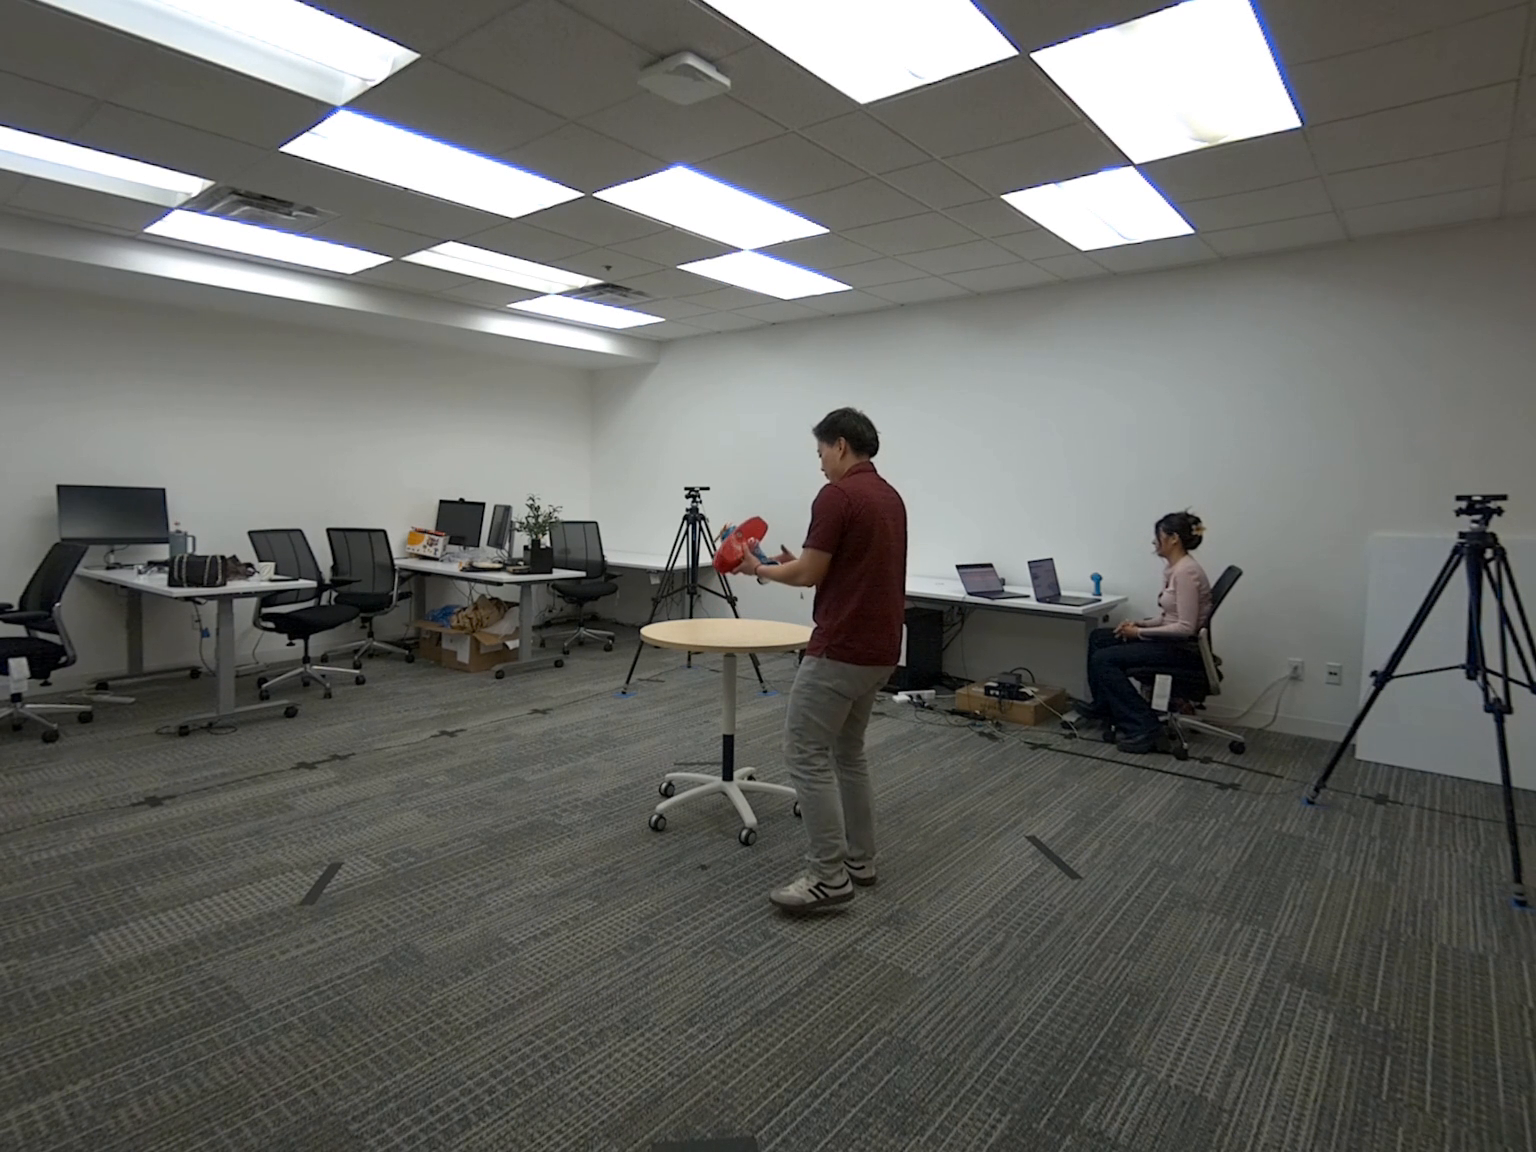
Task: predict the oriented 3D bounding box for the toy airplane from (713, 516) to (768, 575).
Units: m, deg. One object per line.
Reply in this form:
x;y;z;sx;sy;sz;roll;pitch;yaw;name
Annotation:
-0.071;-0.094;3.161;0.259;0.256;0.153;11;-41;-1;toy airplane
